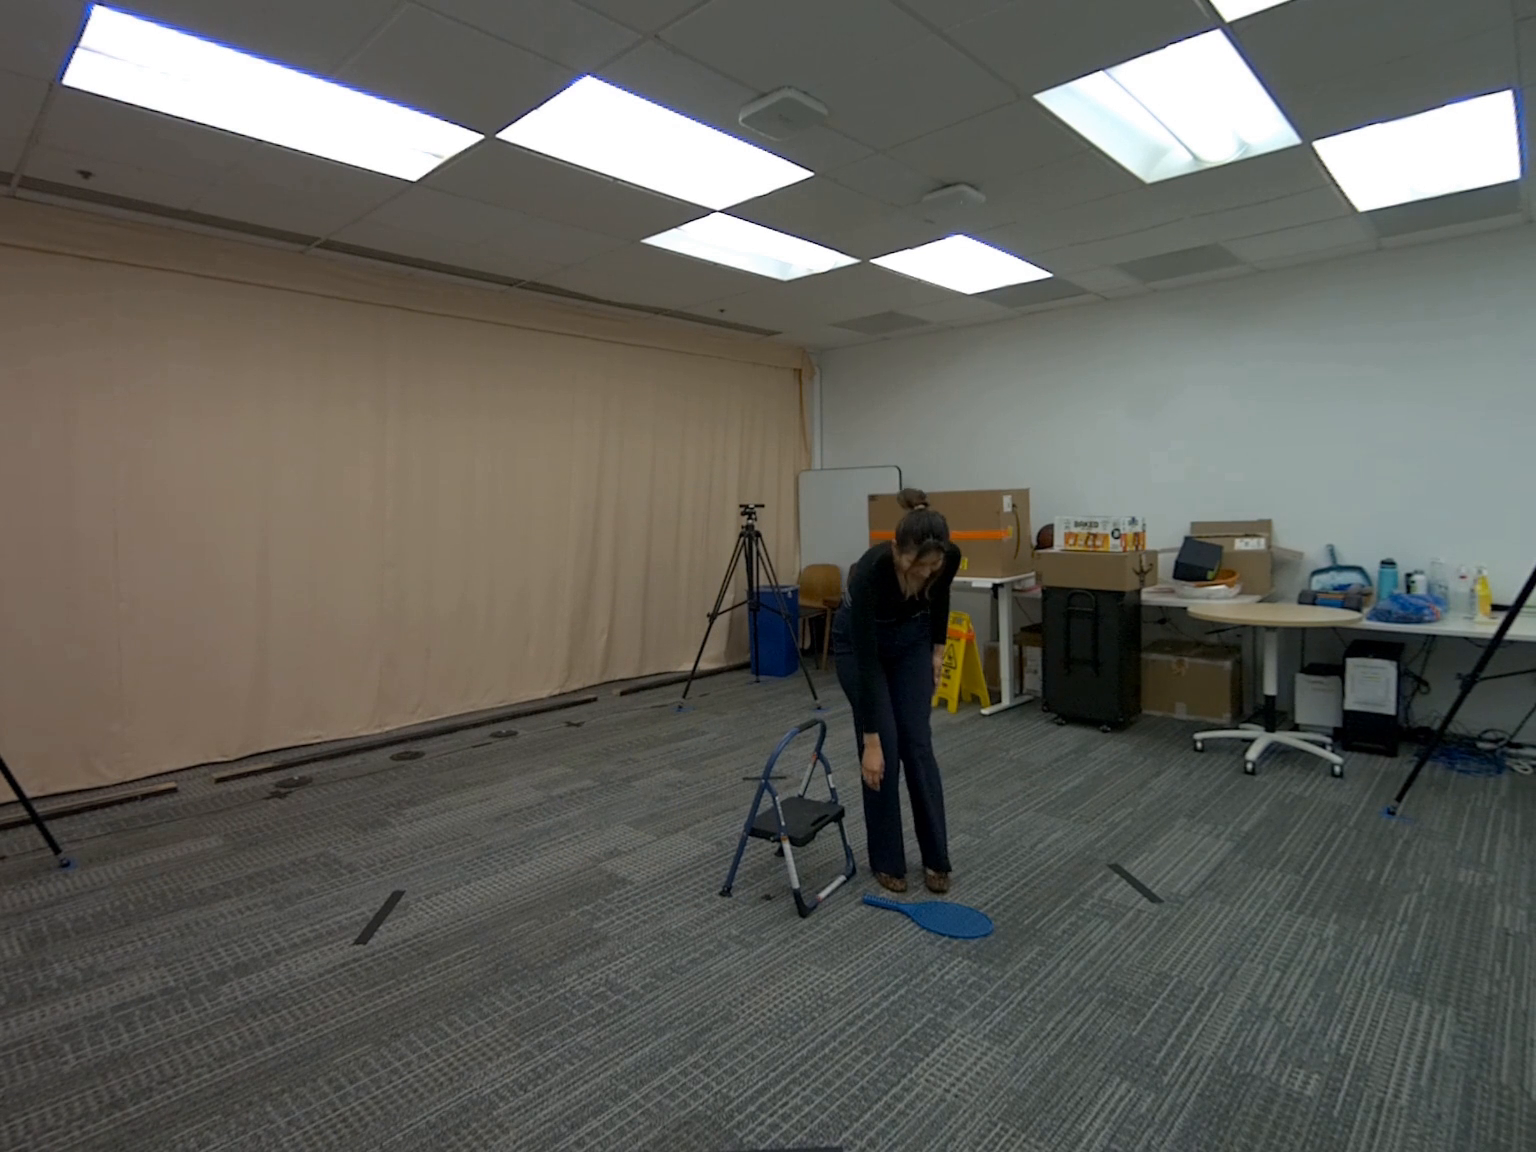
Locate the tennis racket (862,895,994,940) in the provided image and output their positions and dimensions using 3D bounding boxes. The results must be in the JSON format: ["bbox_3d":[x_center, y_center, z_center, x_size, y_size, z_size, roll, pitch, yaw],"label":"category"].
[{"bbox_3d":[0.534,1.127,2.828,0.444,0.031,0.209,3,7,26],"label":"tennis racket"}]
